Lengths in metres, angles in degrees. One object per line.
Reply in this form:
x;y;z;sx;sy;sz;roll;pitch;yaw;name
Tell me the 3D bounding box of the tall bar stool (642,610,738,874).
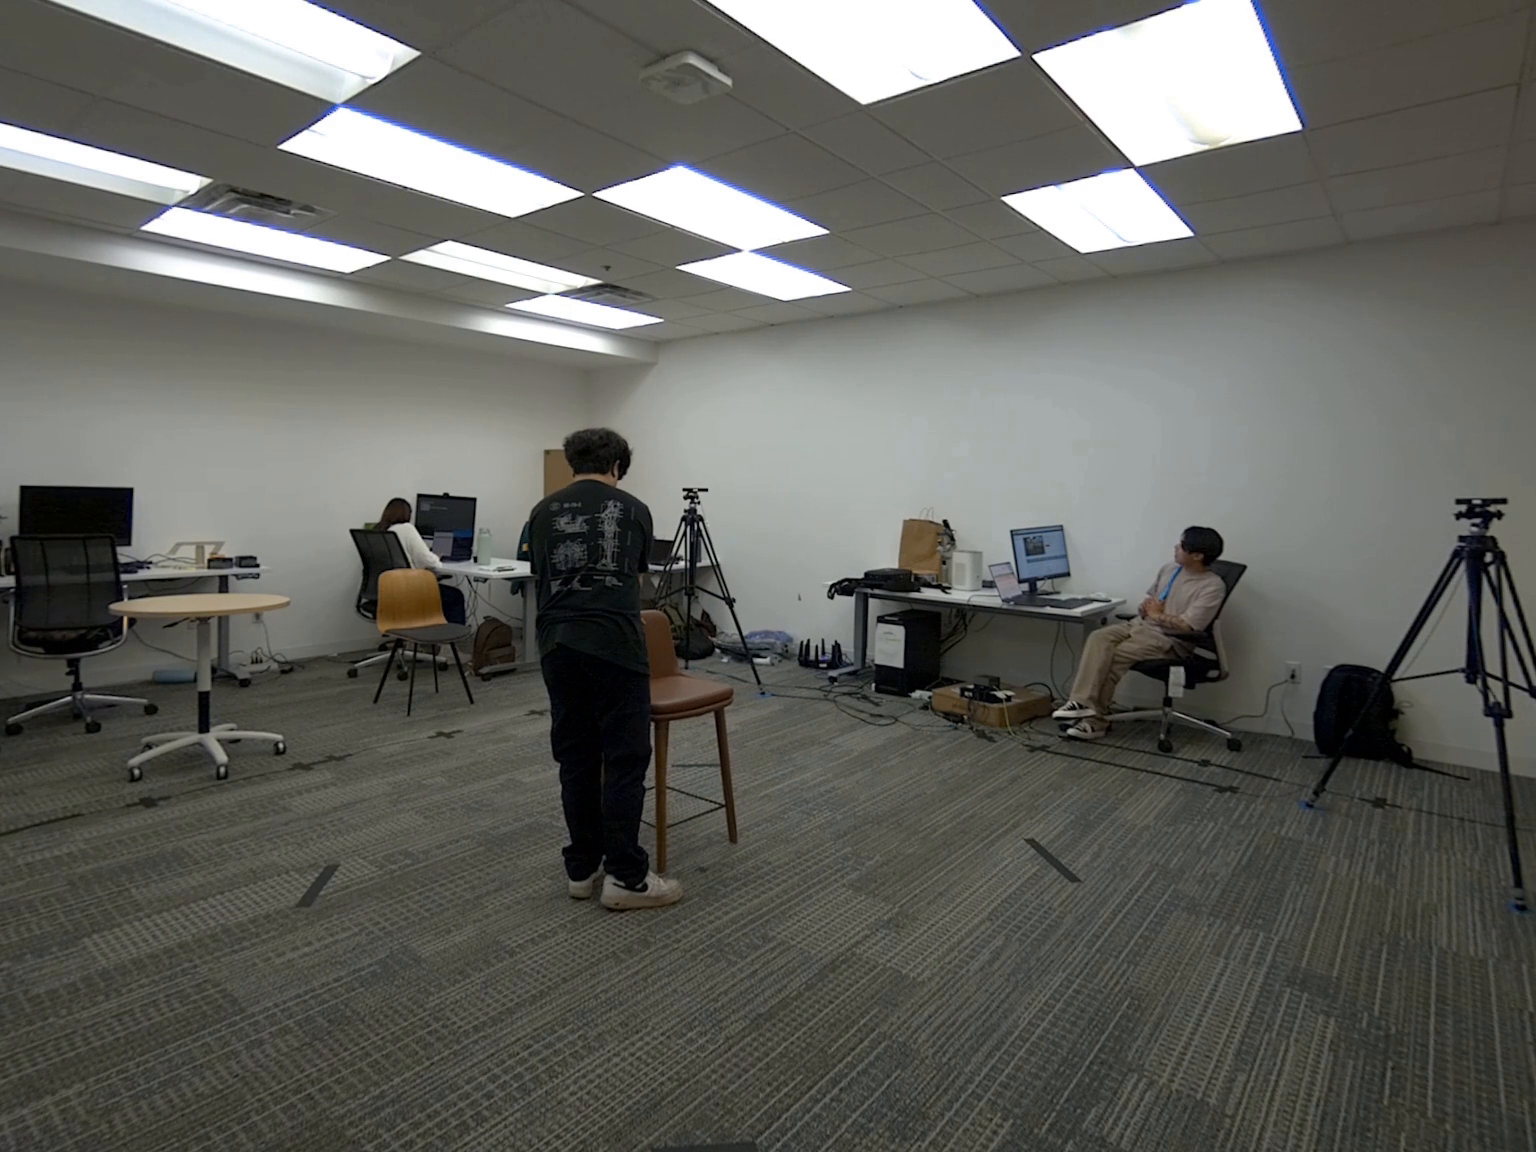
-0.424;0.602;3.356;0.483;0.889;0.442;1;2;44;tall bar stool
